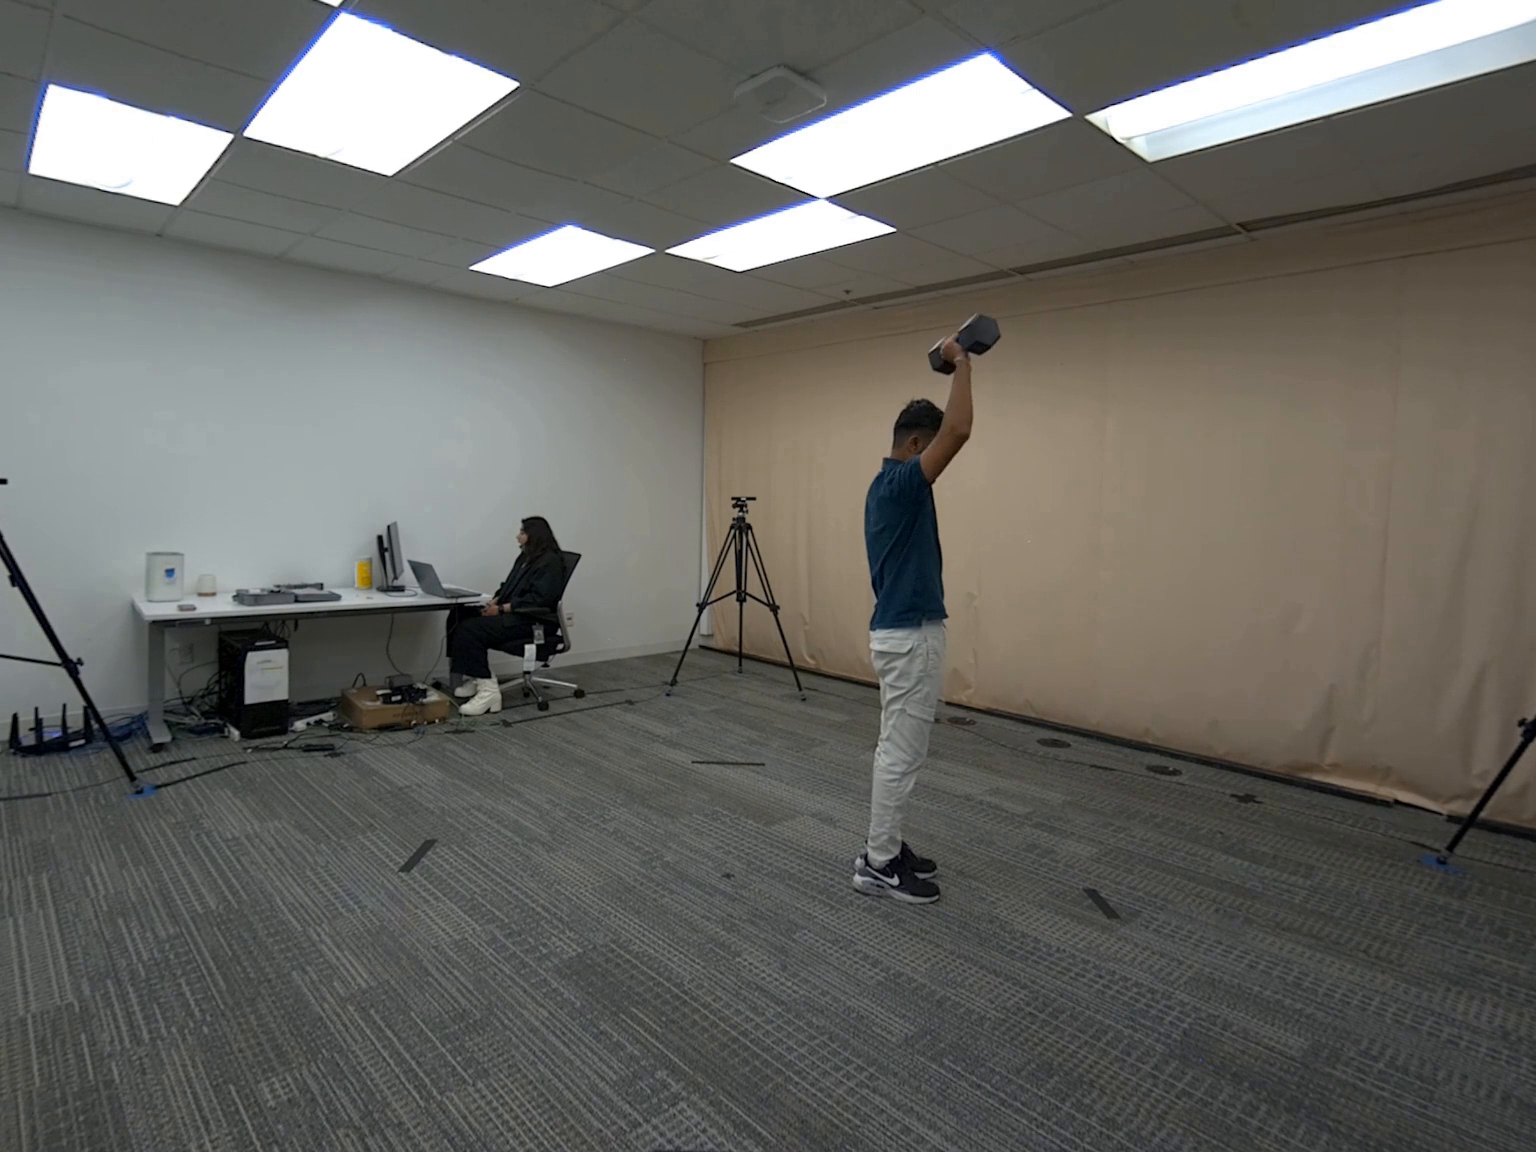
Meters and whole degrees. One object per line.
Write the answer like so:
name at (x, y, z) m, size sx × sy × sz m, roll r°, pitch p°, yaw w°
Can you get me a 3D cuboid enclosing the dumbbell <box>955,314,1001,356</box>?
dumbbell at (0.631, -0.755, 2.776) m, size 0.122 × 0.109 × 0.295 m, roll 14°, pitch -9°, yaw -12°
